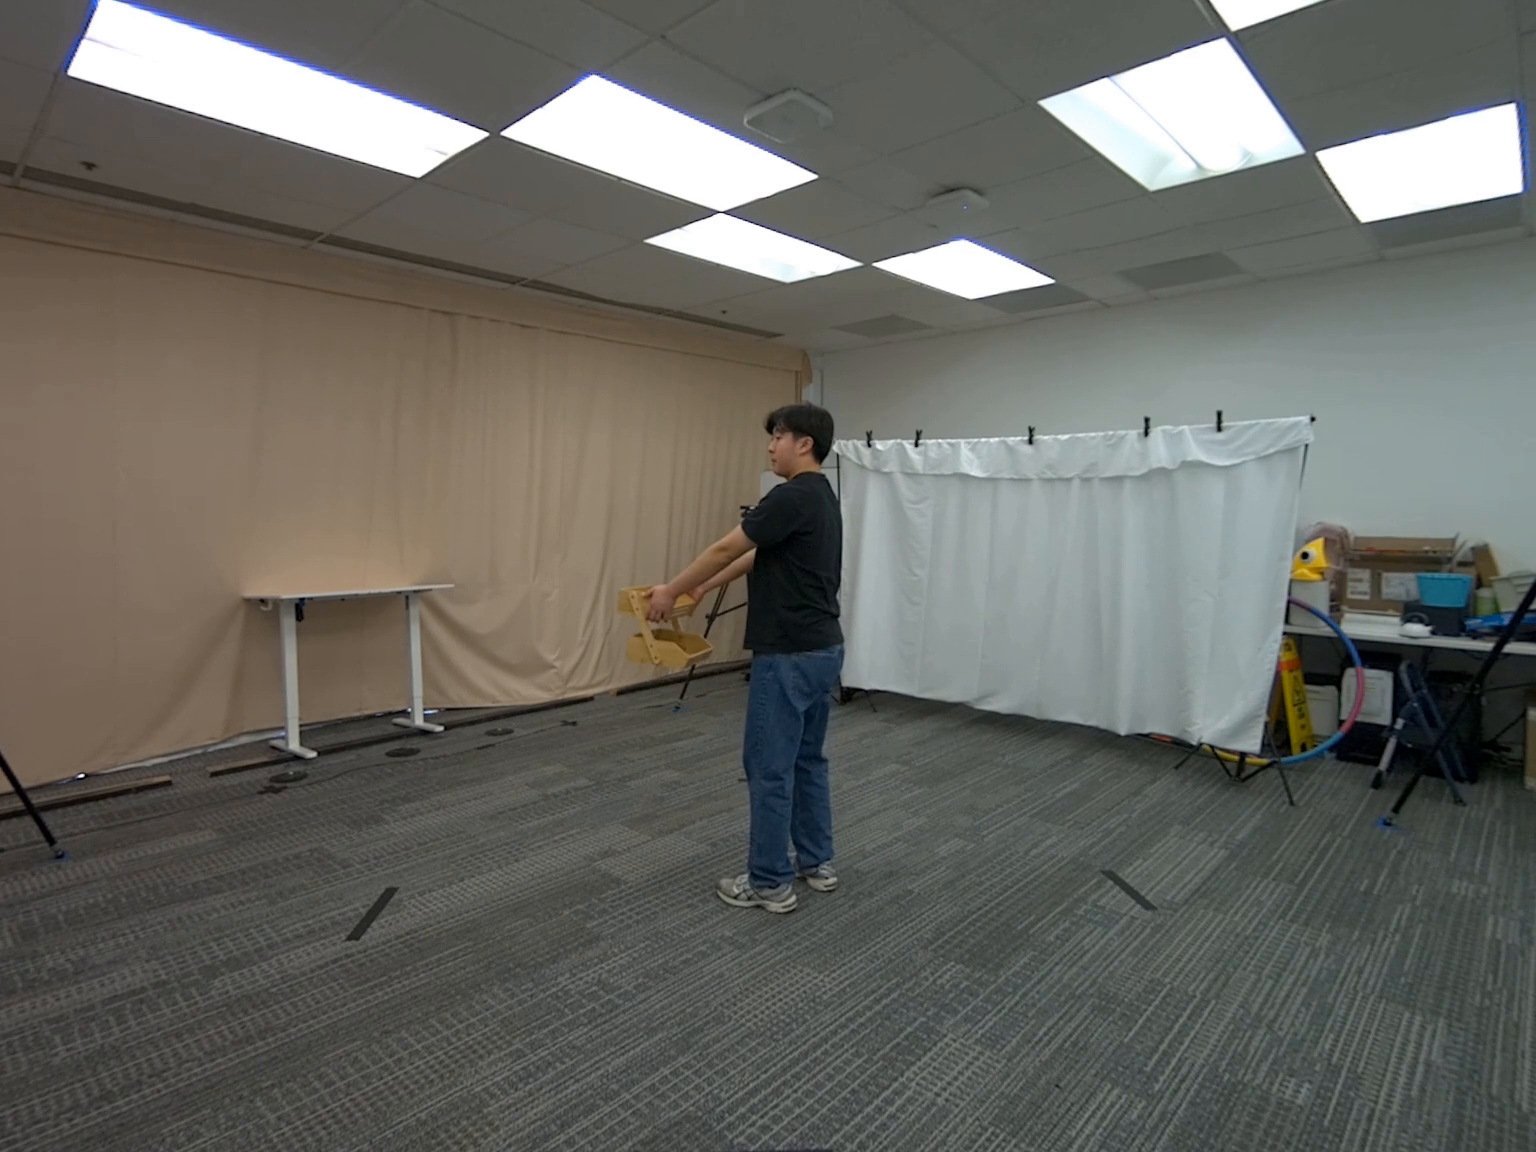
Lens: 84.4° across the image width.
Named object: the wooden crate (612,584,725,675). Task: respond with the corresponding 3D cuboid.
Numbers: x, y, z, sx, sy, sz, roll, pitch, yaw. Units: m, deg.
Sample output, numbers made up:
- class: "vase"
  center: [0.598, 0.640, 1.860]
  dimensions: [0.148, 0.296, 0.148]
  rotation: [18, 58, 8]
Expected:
- class: "wooden crate"
  center: [-0.374, 0.192, 3.217]
  dimensions: [0.308, 0.273, 0.319]
  rotation: [7, 3, 16]
